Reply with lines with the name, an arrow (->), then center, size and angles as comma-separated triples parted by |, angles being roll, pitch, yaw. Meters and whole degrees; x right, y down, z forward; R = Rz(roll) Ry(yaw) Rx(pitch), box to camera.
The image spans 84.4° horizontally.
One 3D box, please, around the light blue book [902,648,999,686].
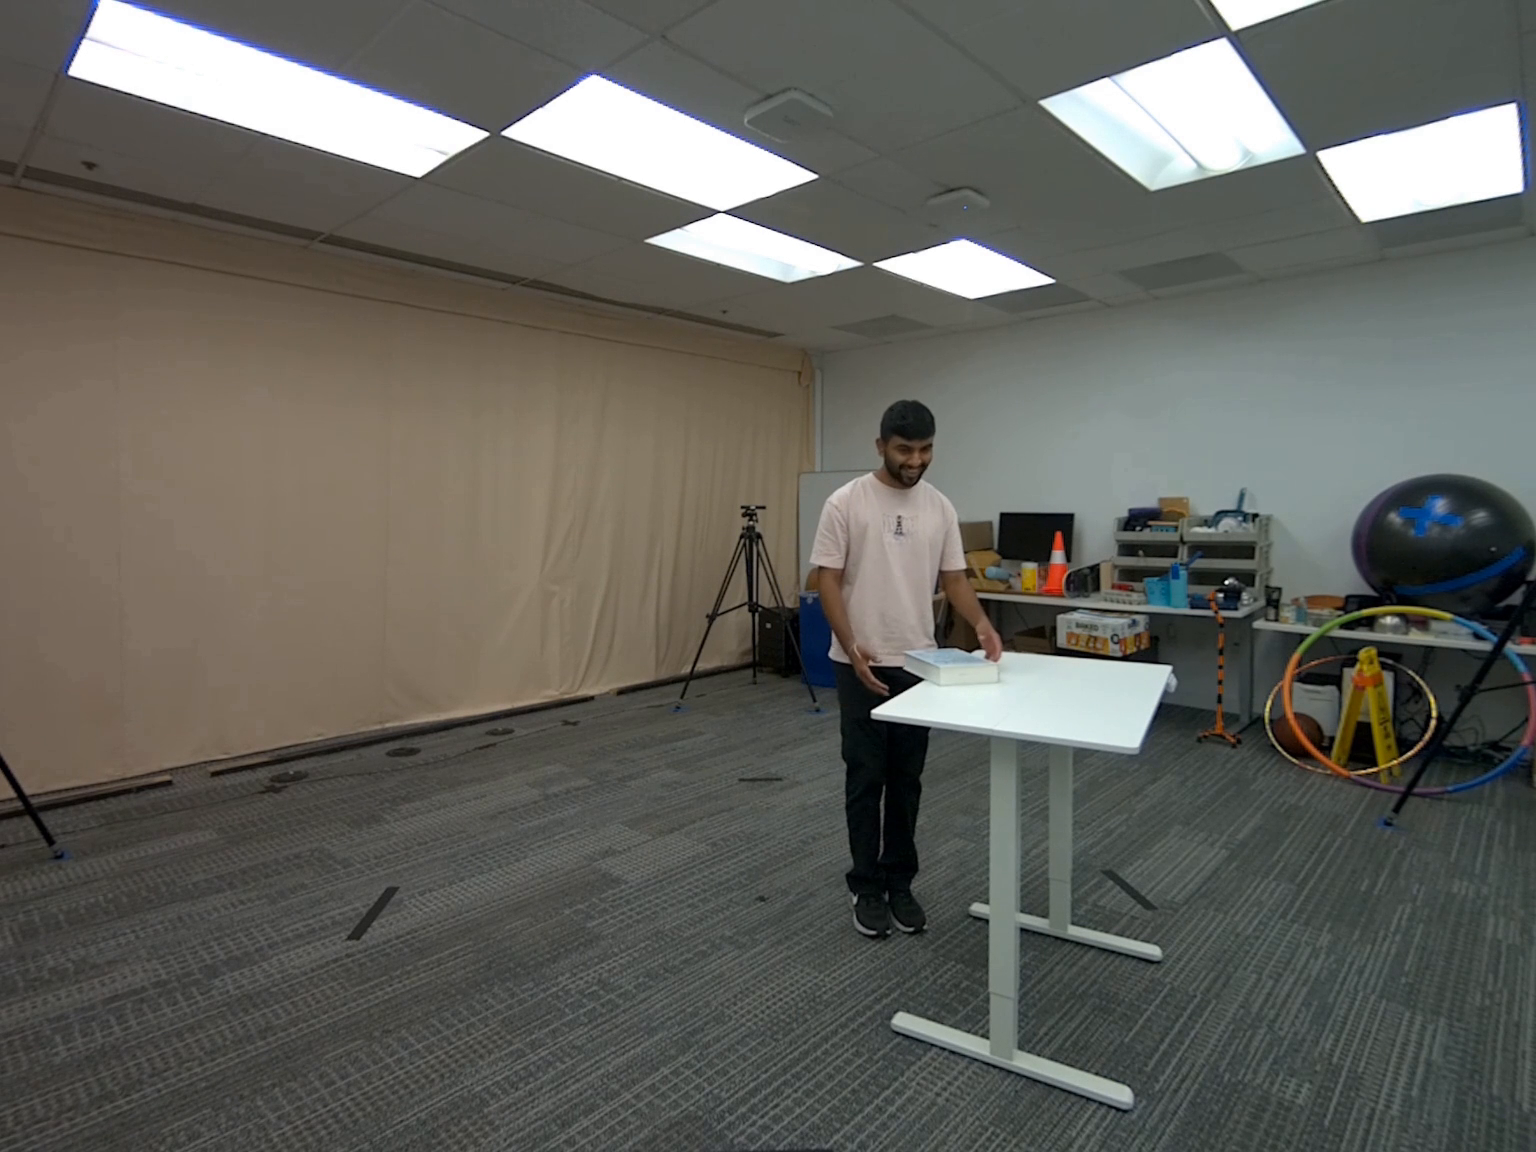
light blue book -> 0.539, 0.275, 2.510 | 0.190, 0.059, 0.264 | -1, 5, -9
